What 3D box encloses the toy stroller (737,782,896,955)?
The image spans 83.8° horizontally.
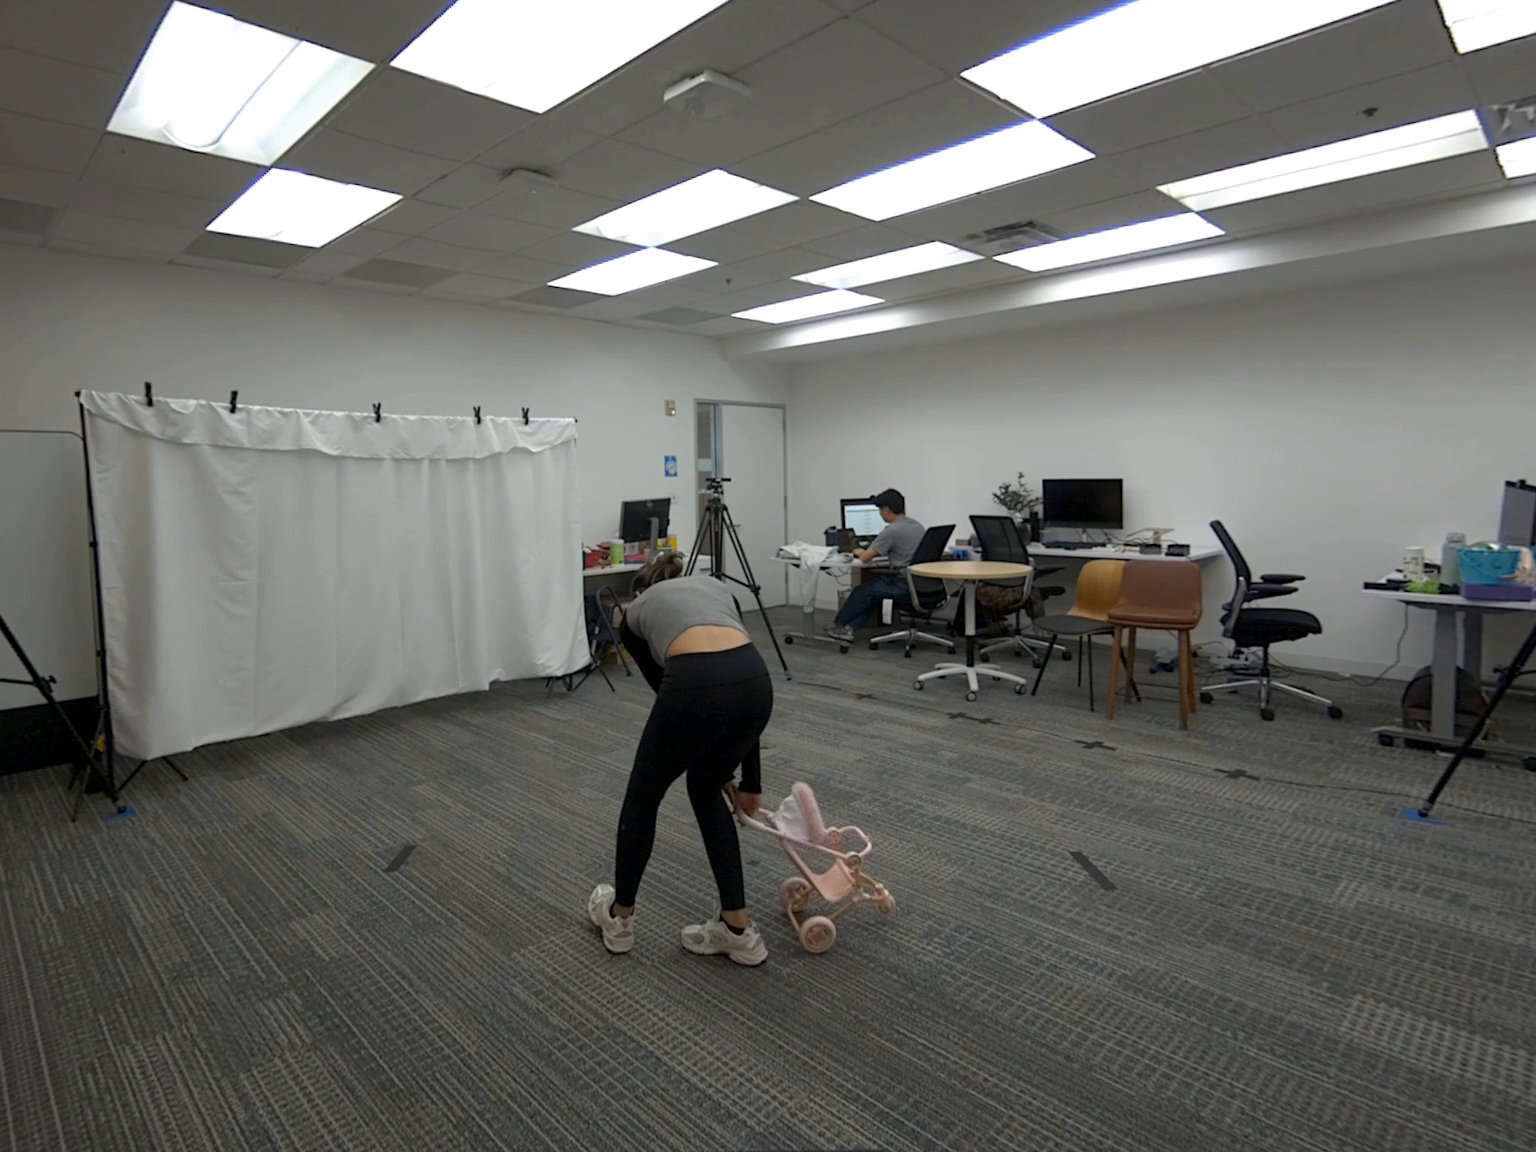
[{"bbox_3d":[0.163,0.867,2.629,0.340,0.531,0.284,-24,7,-5],"label":"toy stroller"}]
